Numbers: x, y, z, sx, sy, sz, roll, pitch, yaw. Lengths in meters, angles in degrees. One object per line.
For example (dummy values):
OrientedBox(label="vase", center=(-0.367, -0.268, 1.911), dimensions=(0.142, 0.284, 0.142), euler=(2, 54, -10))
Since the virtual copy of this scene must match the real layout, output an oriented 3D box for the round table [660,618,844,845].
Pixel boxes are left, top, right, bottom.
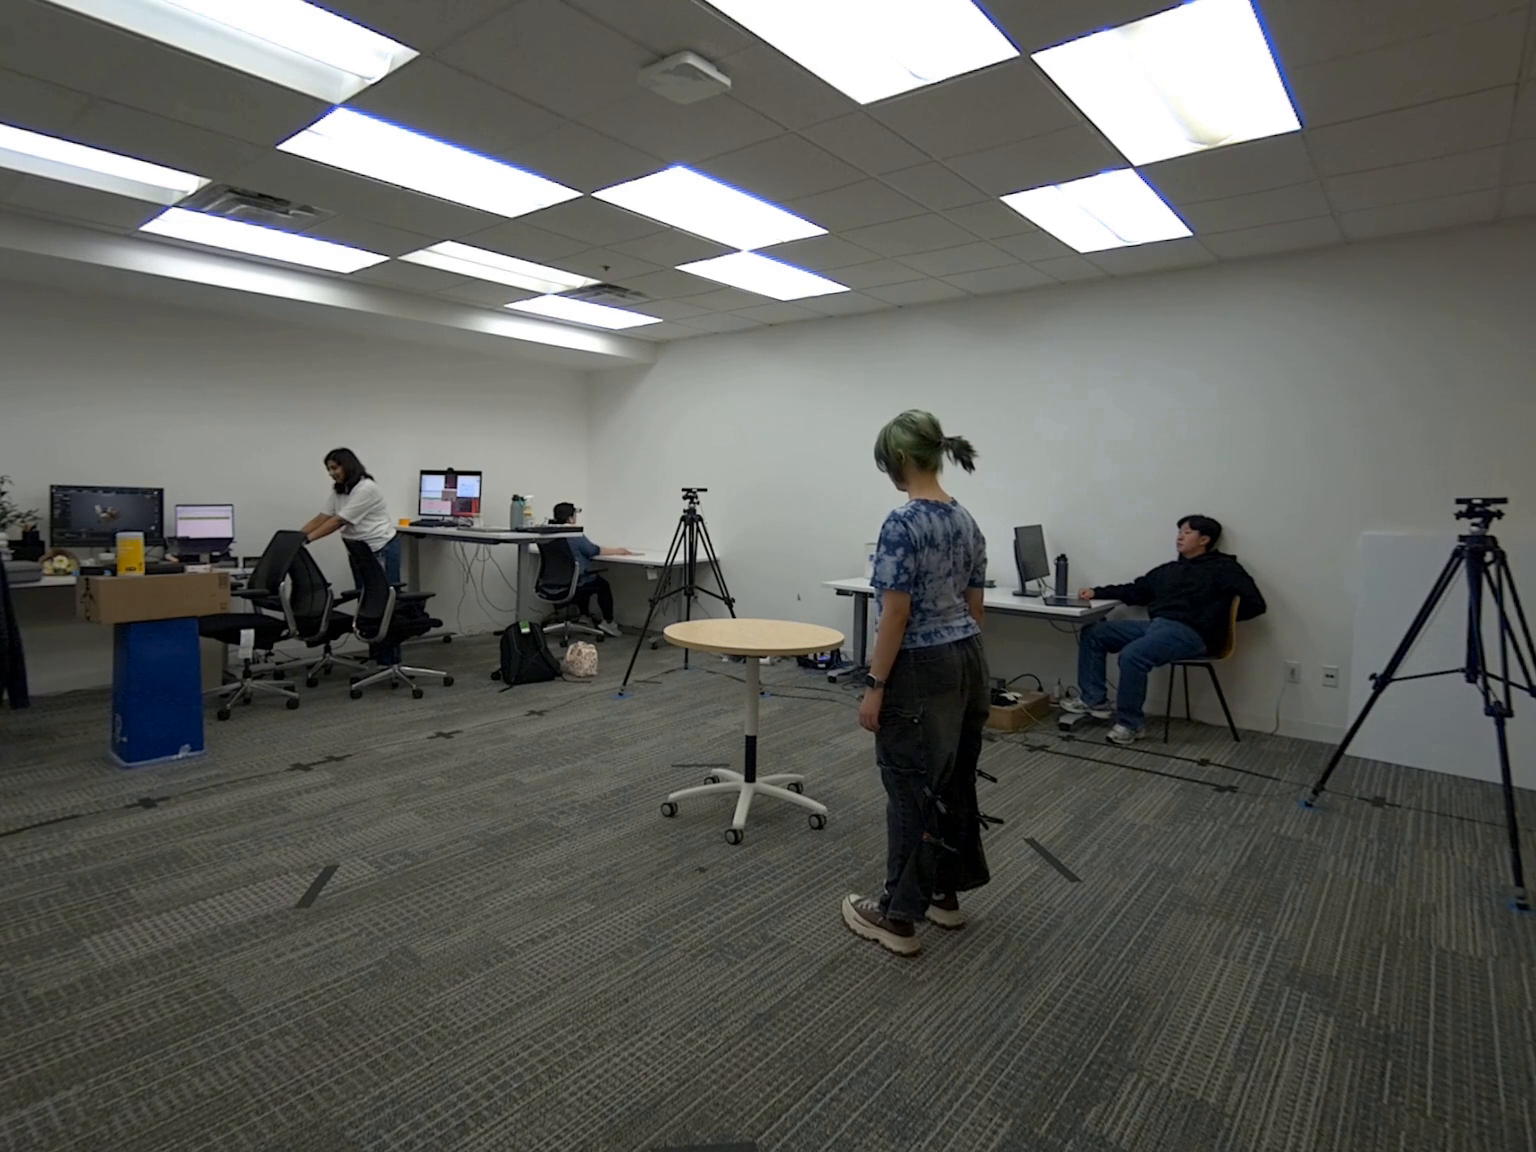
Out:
OrientedBox(label="round table", center=(-0.080, 0.632, 3.648), dimensions=(0.763, 0.791, 0.768), euler=(1, 4, -2))
